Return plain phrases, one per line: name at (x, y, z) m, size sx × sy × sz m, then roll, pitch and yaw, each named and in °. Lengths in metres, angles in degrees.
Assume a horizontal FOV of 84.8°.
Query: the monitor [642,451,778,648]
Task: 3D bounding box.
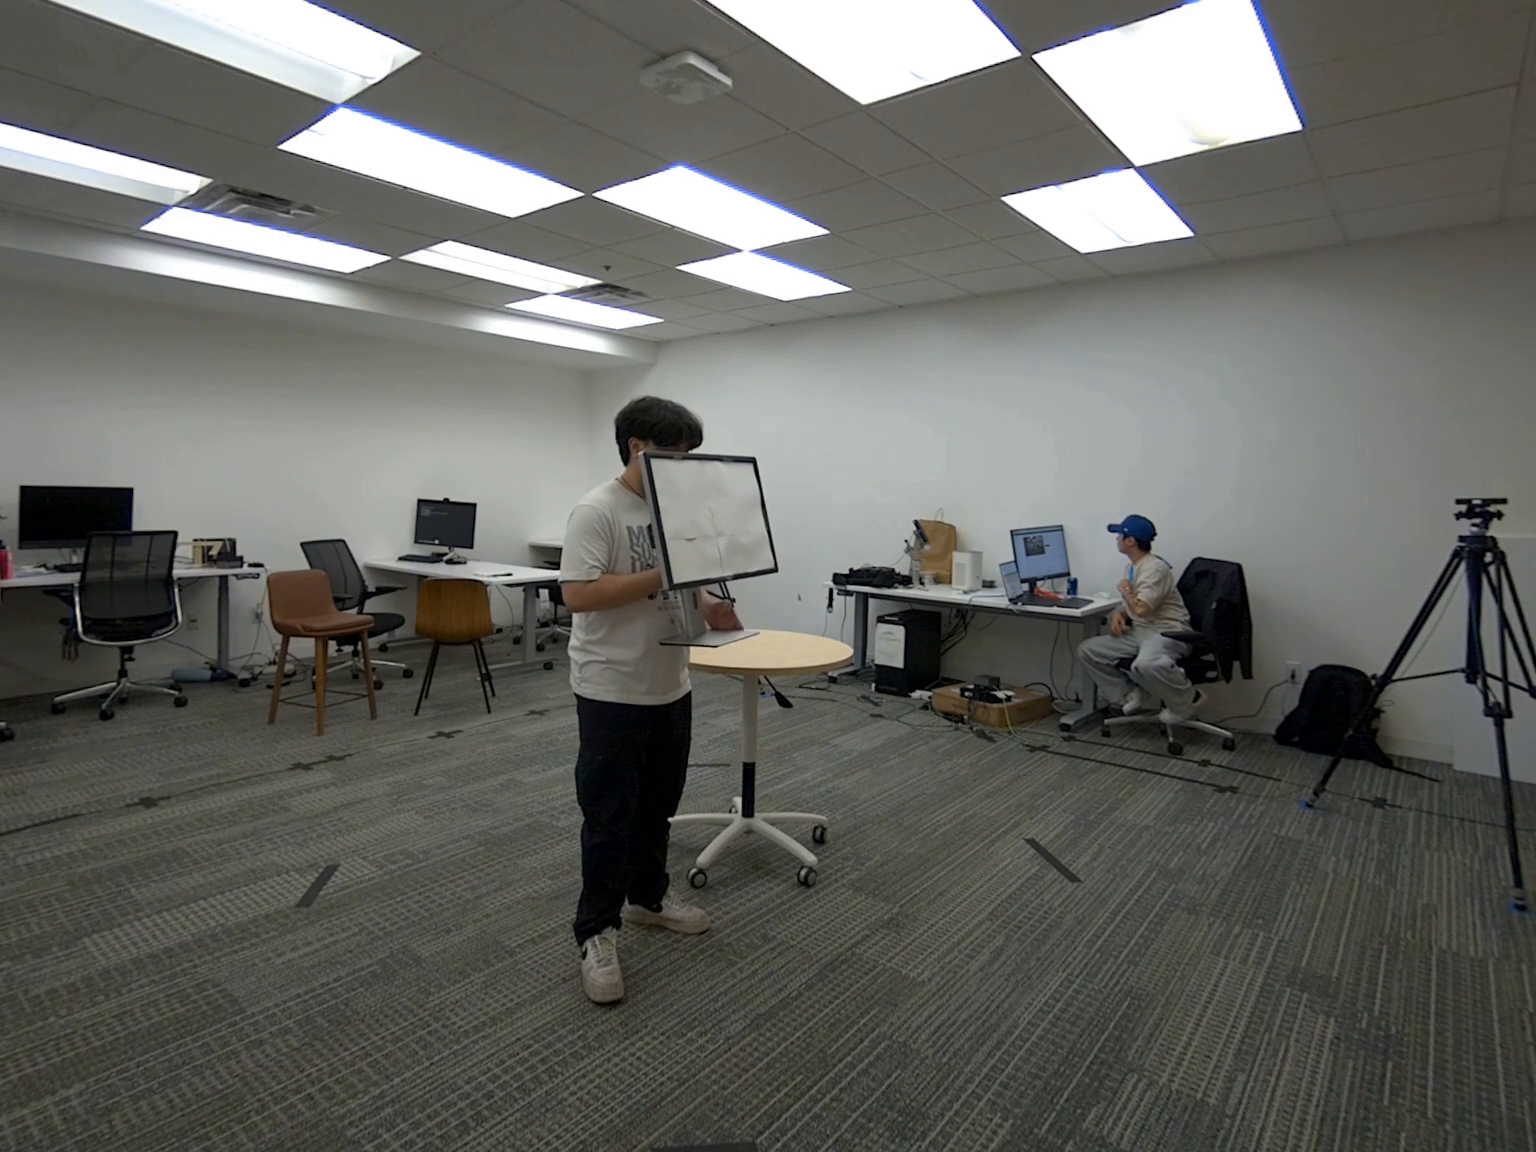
monitor at (-0.213, -0.072, 2.421) m, size 0.215 × 0.554 × 0.551 m, roll -6°, pitch 1°, yaw 31°
